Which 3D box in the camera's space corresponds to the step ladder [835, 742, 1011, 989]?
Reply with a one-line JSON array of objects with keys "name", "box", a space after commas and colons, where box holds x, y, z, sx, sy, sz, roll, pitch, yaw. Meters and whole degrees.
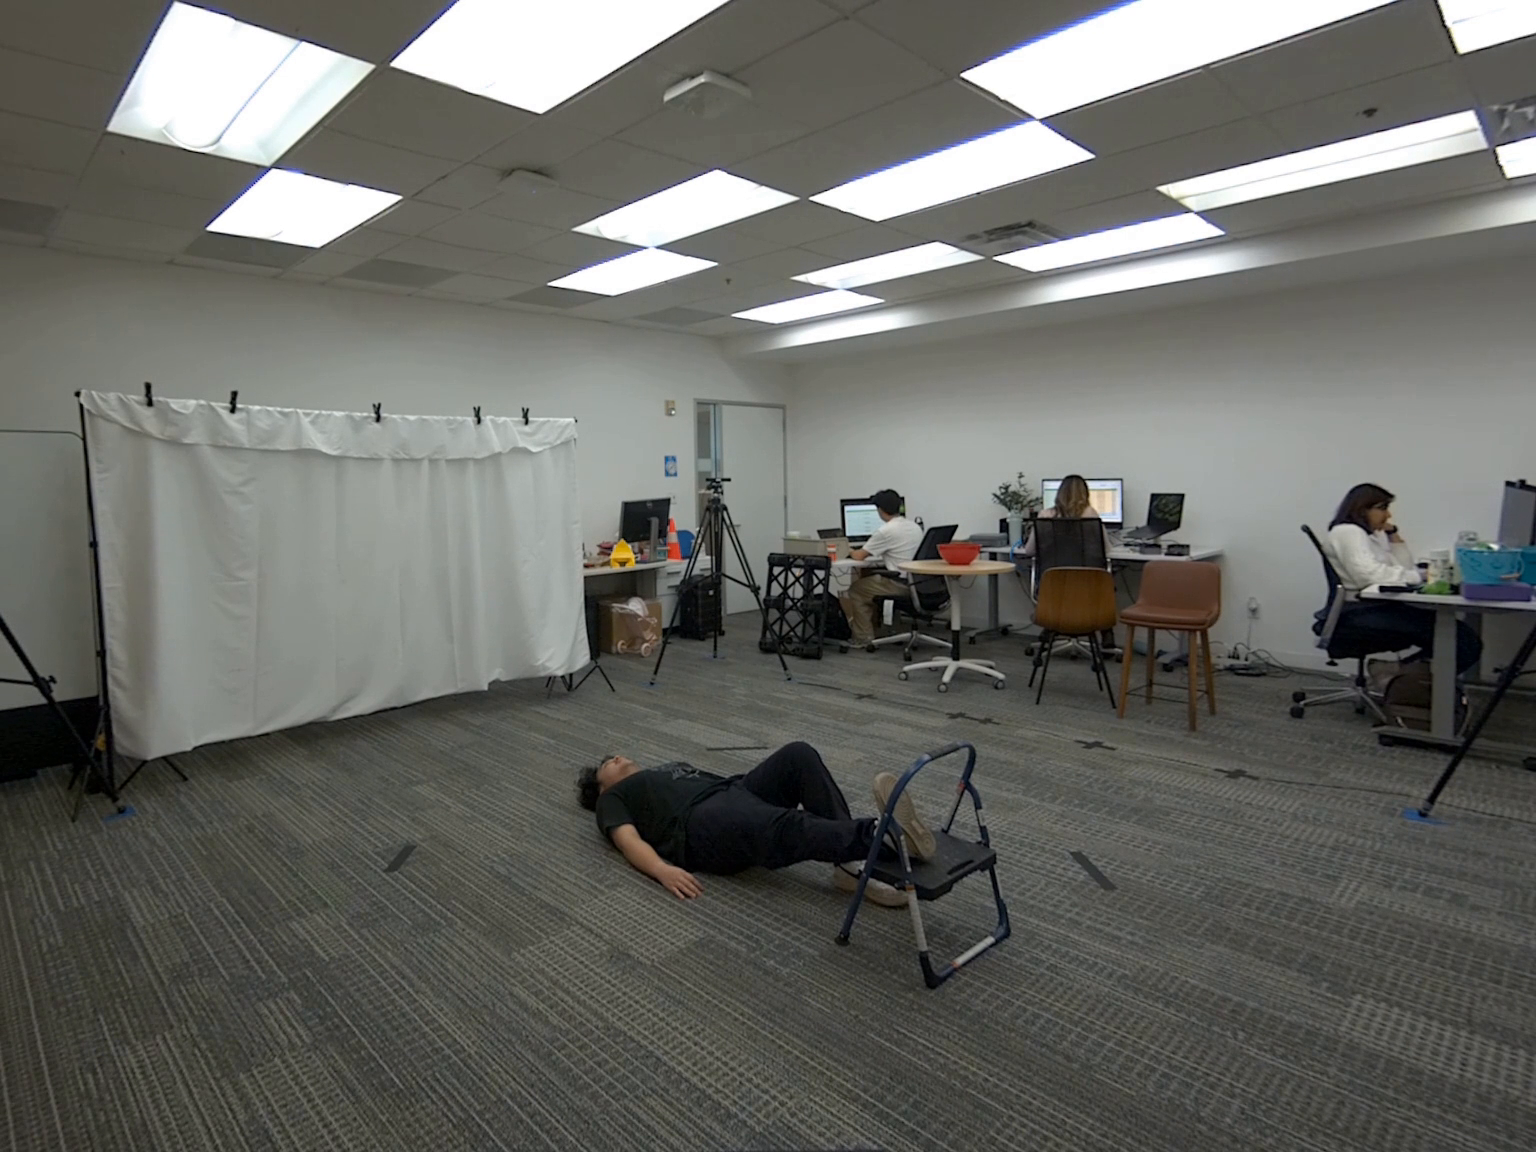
[{"name": "step ladder", "box": [0.474, 0.799, 2.558, 0.419, 0.604, 0.360, -6, 6, -44]}]
